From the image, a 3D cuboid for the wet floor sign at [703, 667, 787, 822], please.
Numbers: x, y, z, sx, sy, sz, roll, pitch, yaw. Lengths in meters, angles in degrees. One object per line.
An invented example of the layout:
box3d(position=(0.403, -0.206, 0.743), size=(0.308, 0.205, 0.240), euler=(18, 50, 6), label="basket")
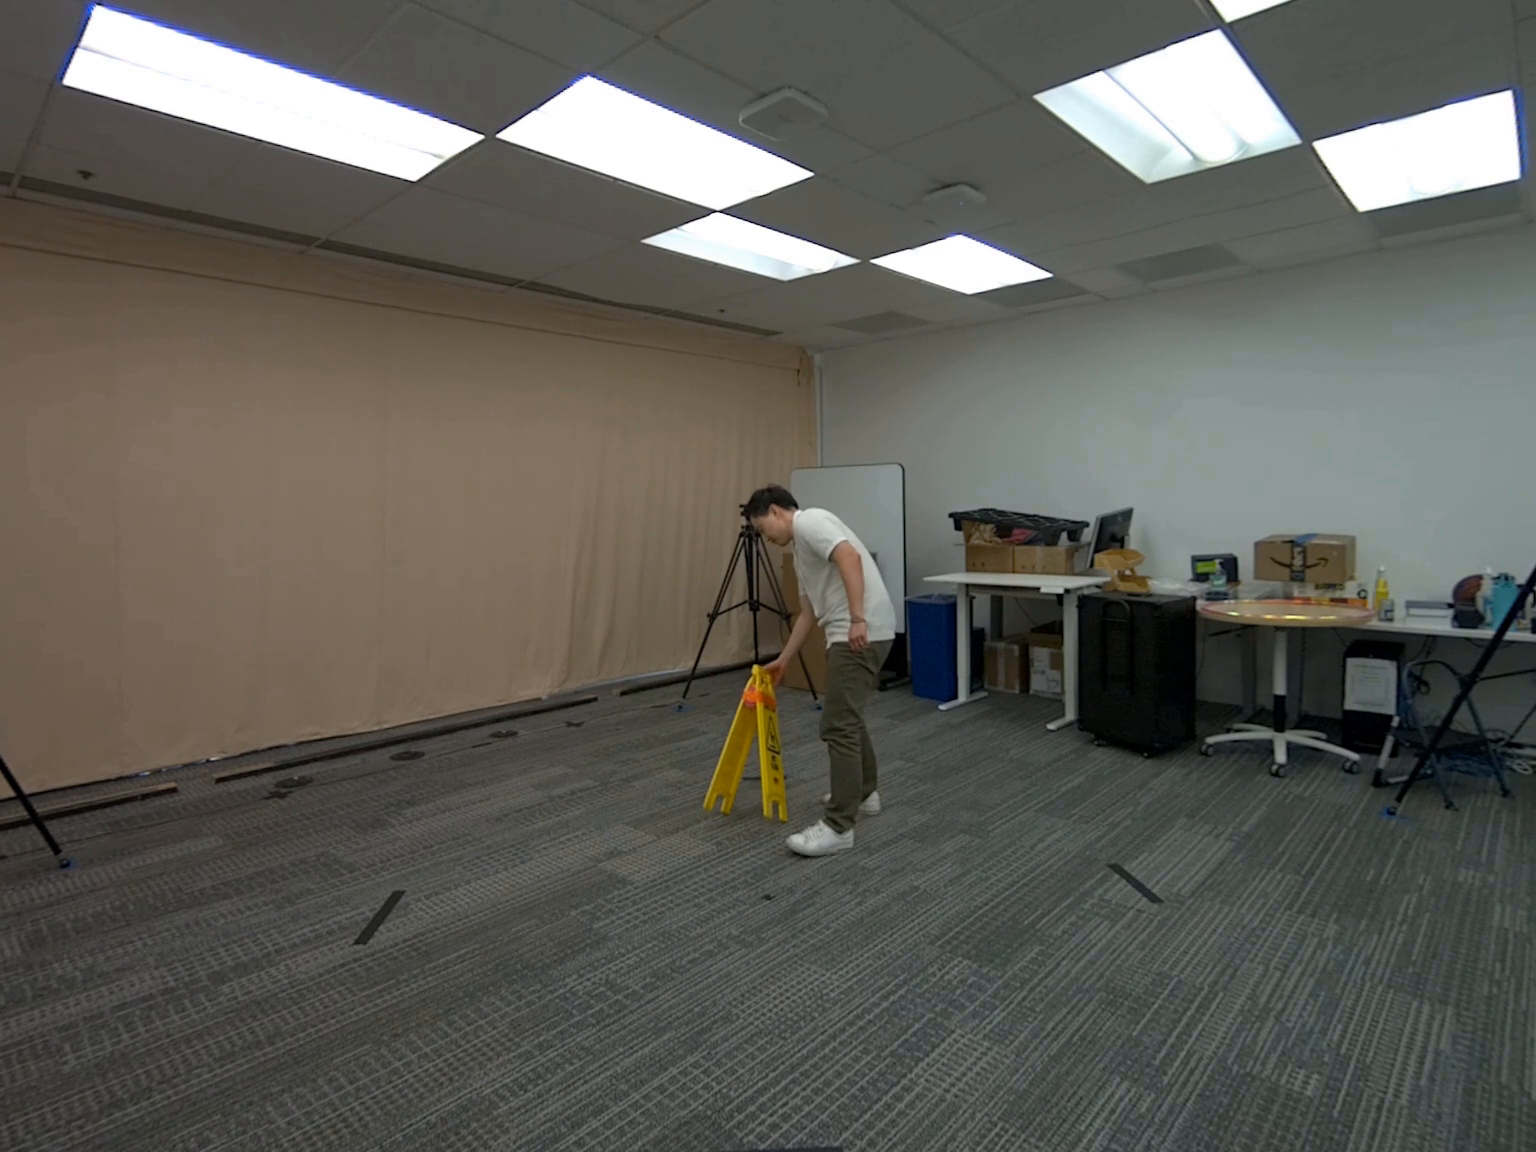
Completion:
box3d(position=(-0.063, 0.731, 3.746), size=(0.296, 0.652, 0.273), euler=(-2, -20, 22), label="wet floor sign")
